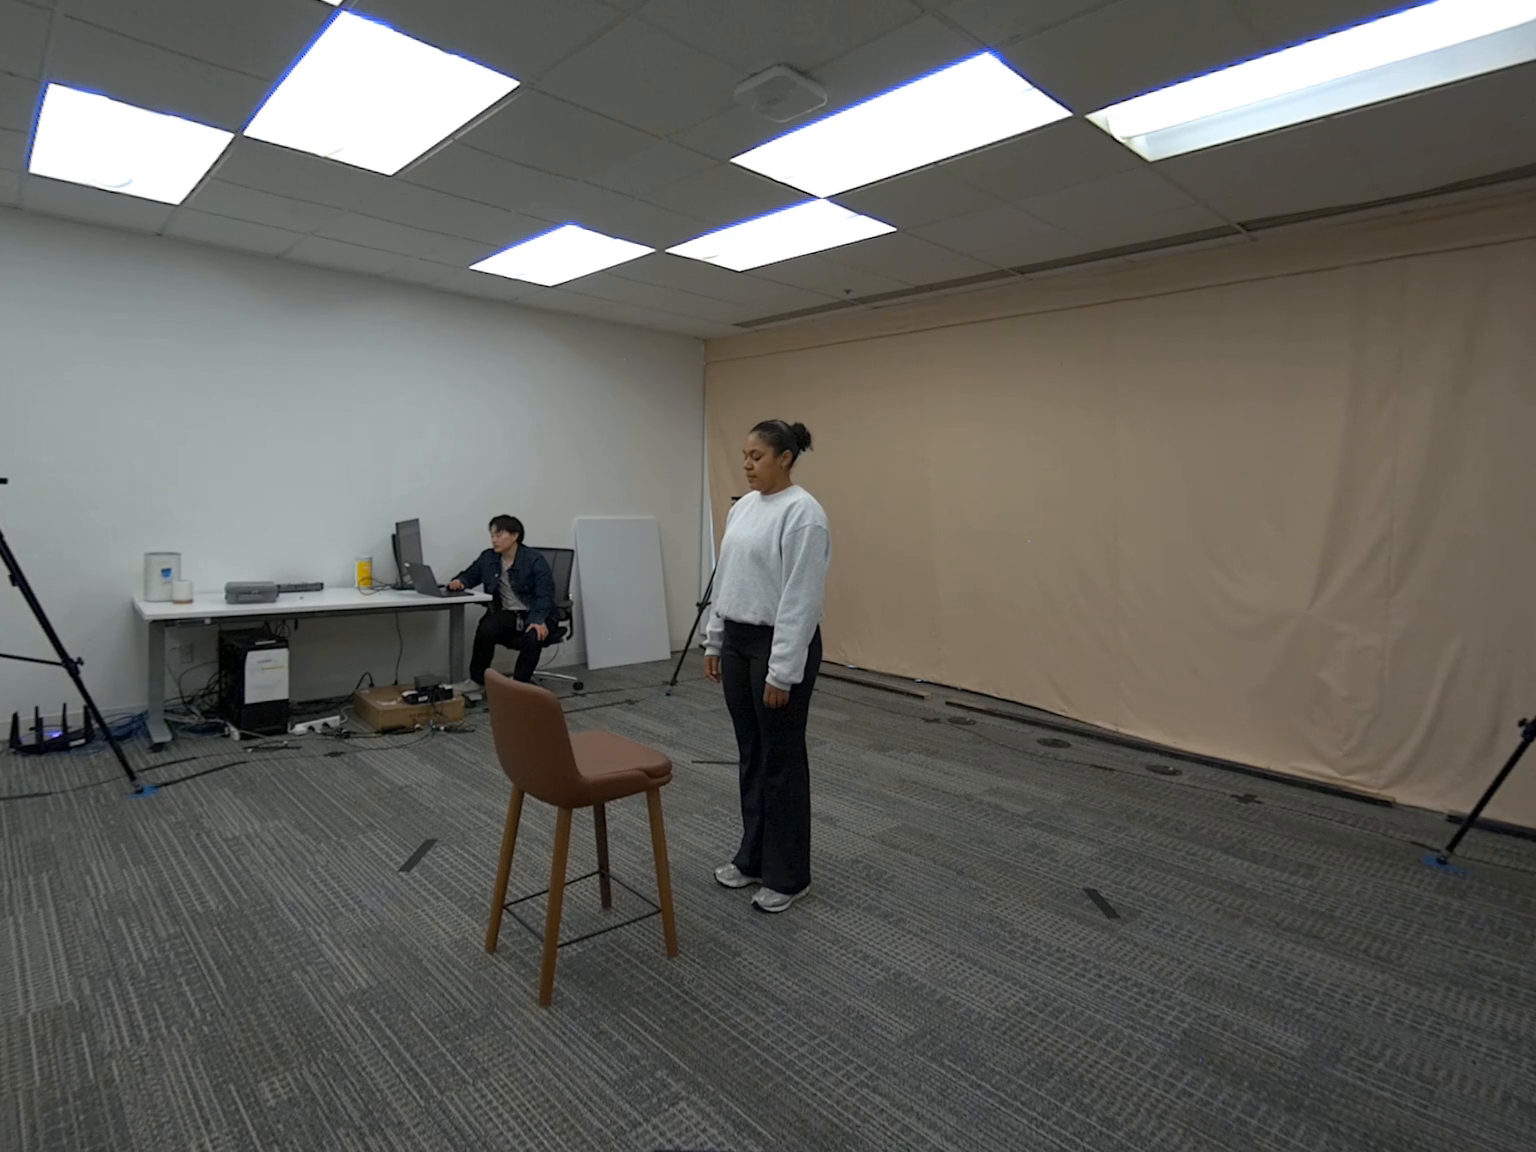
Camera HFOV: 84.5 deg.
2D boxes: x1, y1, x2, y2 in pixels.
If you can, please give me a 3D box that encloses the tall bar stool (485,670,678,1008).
[{"bbox_3d":[-0.574,0.712,2.531,0.457,0.887,0.468,-5,6,-41],"label":"tall bar stool"}]
